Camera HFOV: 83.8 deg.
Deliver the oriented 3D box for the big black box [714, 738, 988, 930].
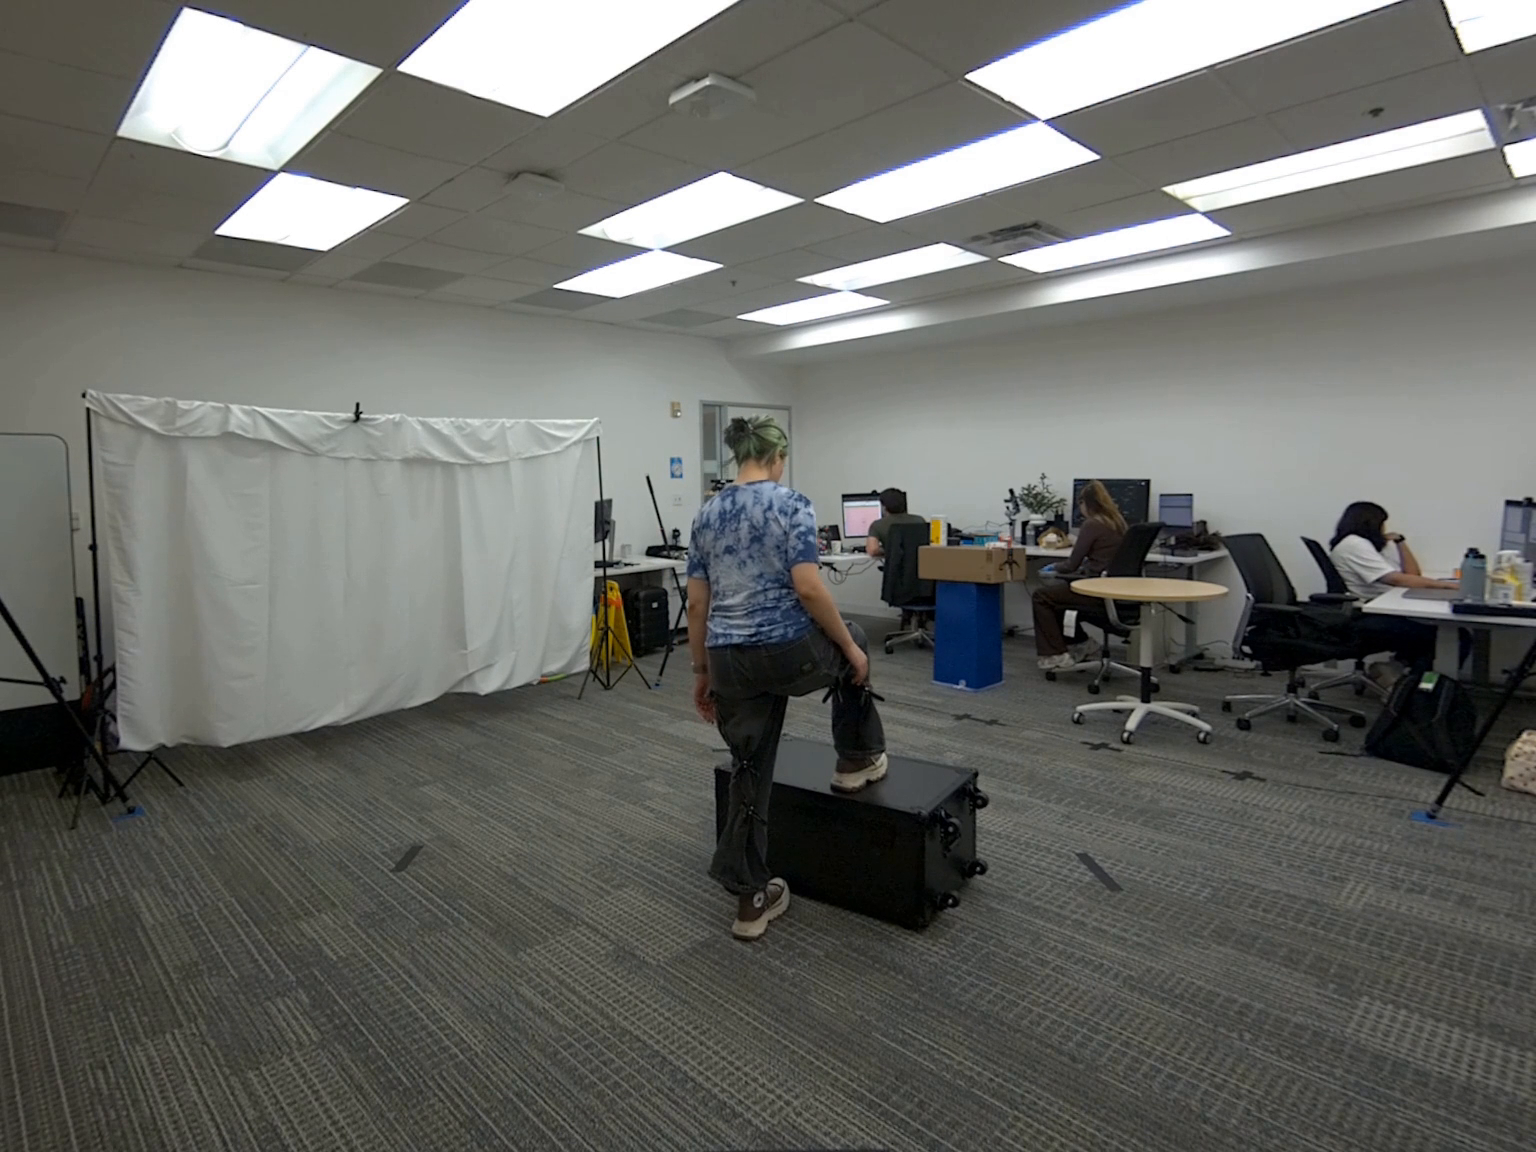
[{"bbox_3d":[0.300,0.865,2.985,0.886,0.395,0.509,3,6,34],"label":"big black box"}]
